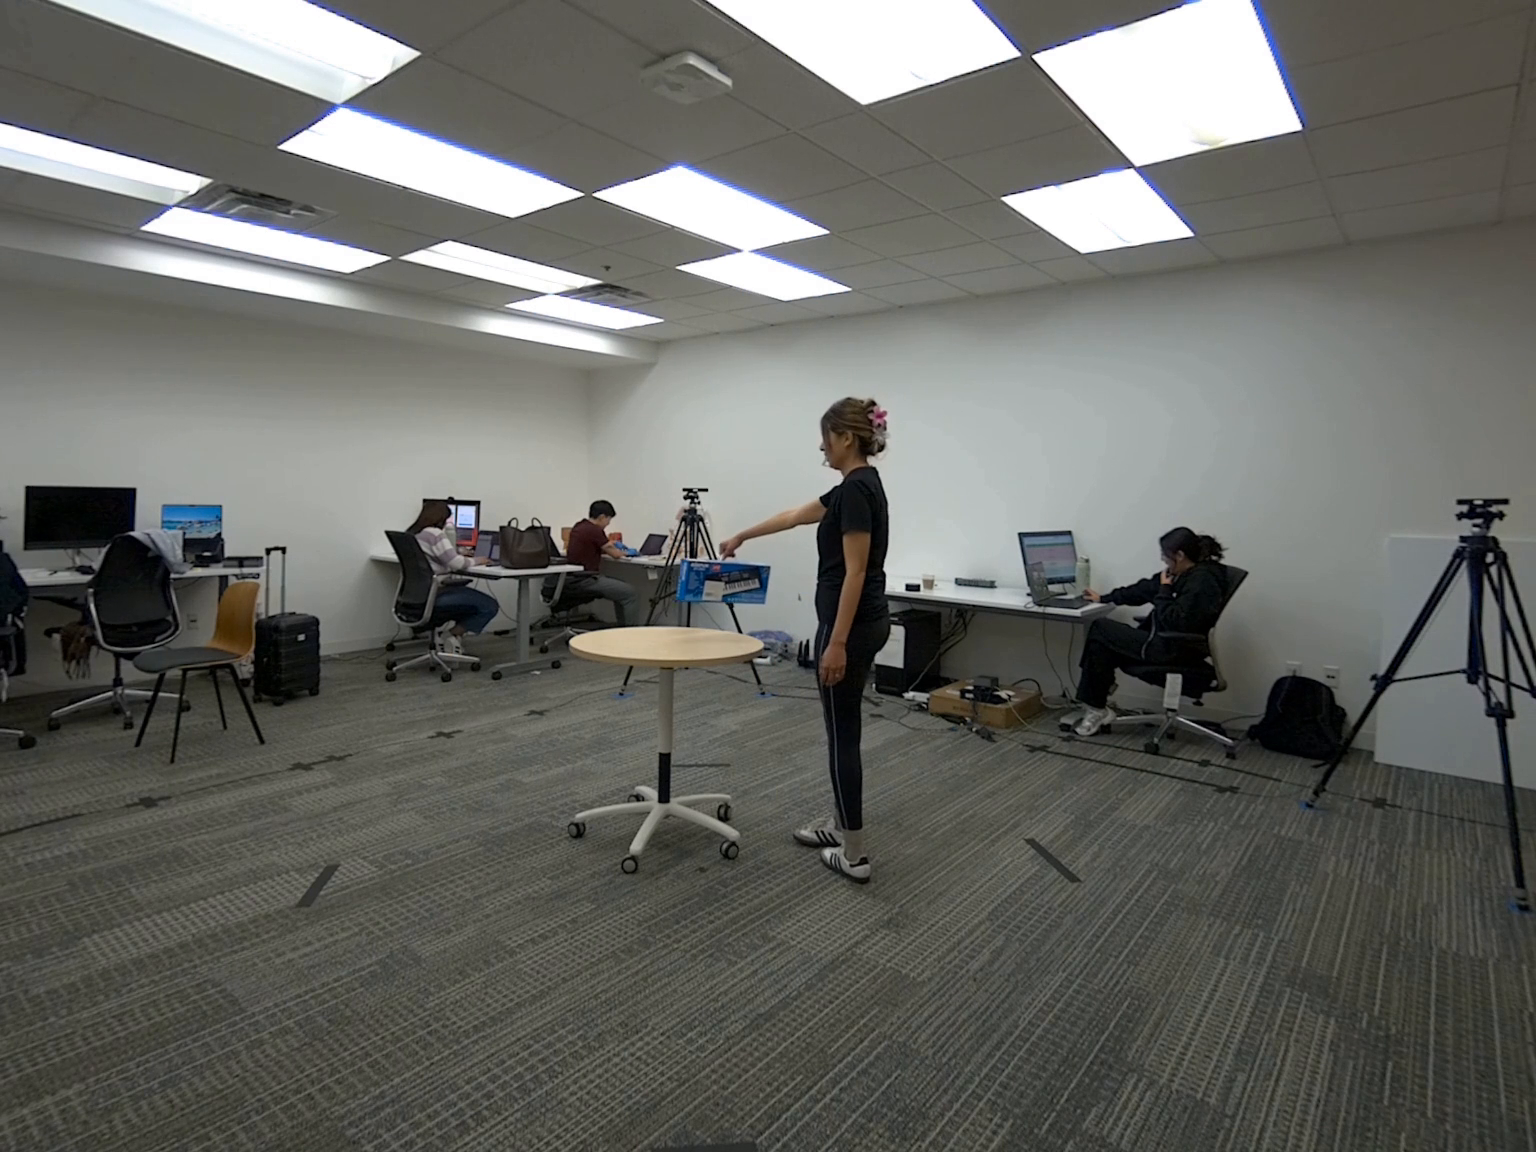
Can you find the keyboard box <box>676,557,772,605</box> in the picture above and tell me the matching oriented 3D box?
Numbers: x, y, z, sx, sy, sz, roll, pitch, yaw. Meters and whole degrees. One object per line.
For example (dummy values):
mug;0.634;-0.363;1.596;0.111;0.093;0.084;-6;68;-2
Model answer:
keyboard box;-0.186;0.023;3.601;0.423;0.175;0.061;3;7;-38
